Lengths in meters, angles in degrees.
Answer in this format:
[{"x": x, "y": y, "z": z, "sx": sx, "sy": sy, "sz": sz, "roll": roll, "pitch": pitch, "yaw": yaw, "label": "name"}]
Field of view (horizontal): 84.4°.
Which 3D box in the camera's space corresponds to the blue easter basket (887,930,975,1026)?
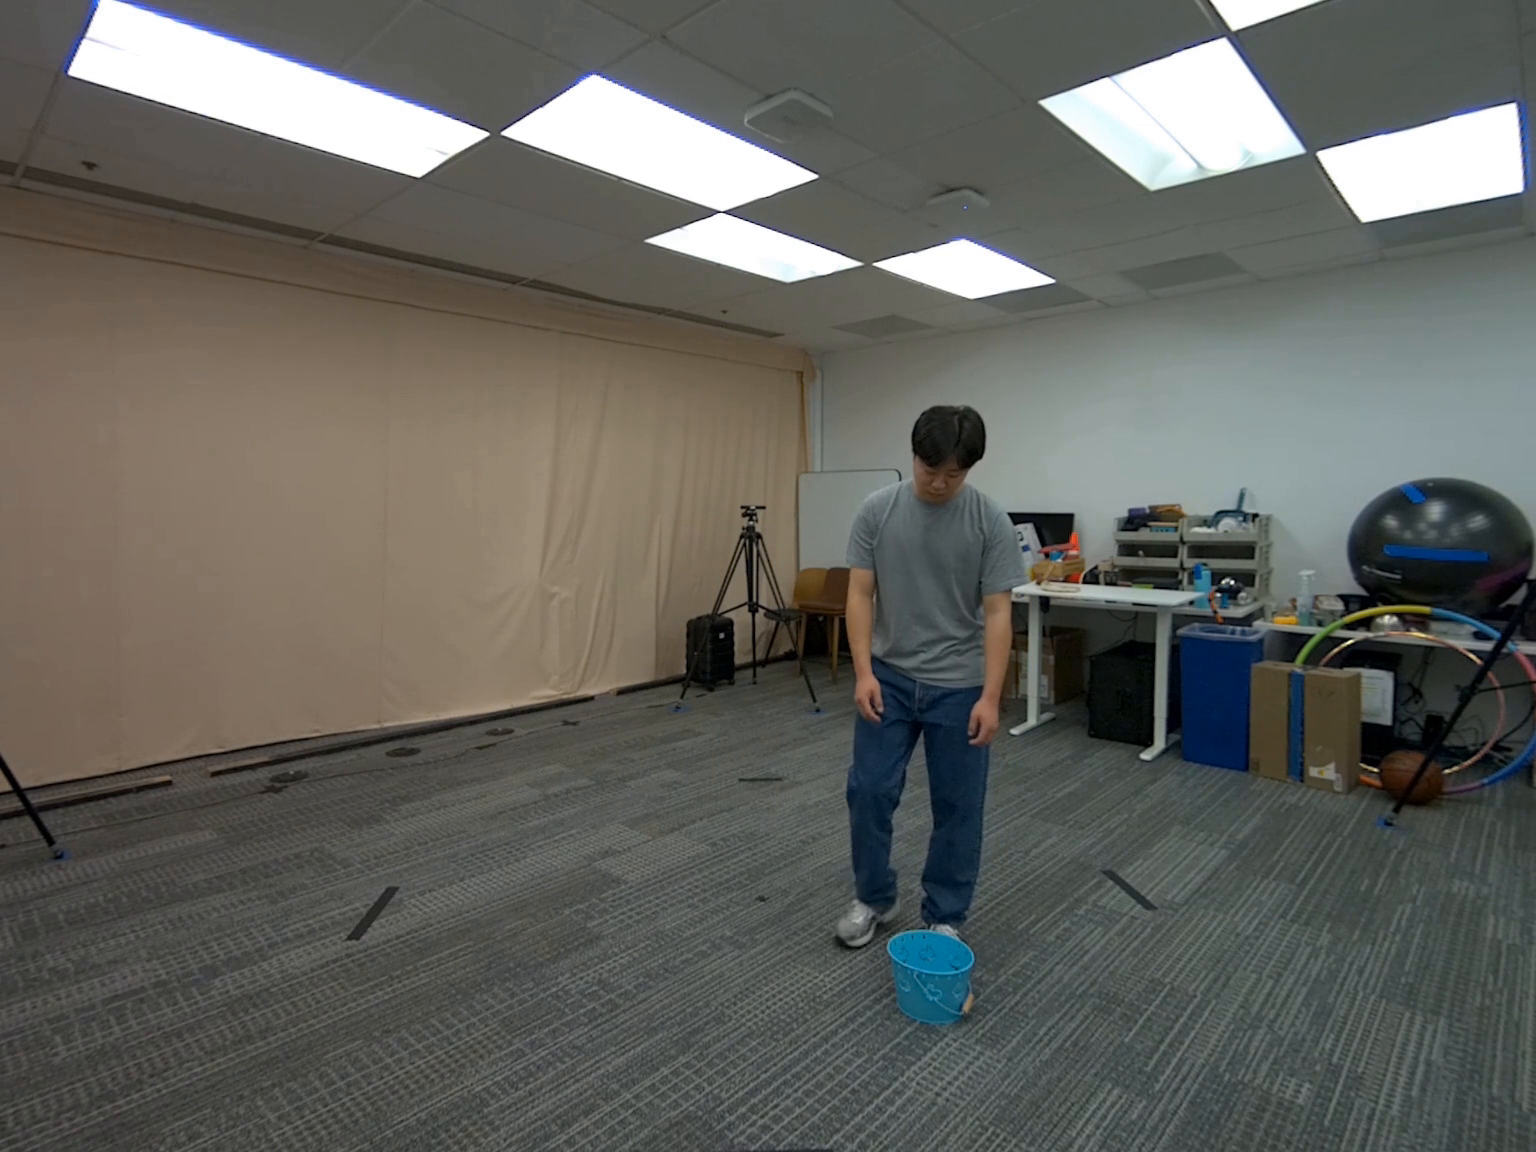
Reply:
[{"x": 0.456, "y": 1.117, "z": 2.344, "sx": 0.243, "sy": 0.155, "sz": 0.244, "roll": -1, "pitch": 4, "yaw": -2, "label": "blue easter basket"}]
